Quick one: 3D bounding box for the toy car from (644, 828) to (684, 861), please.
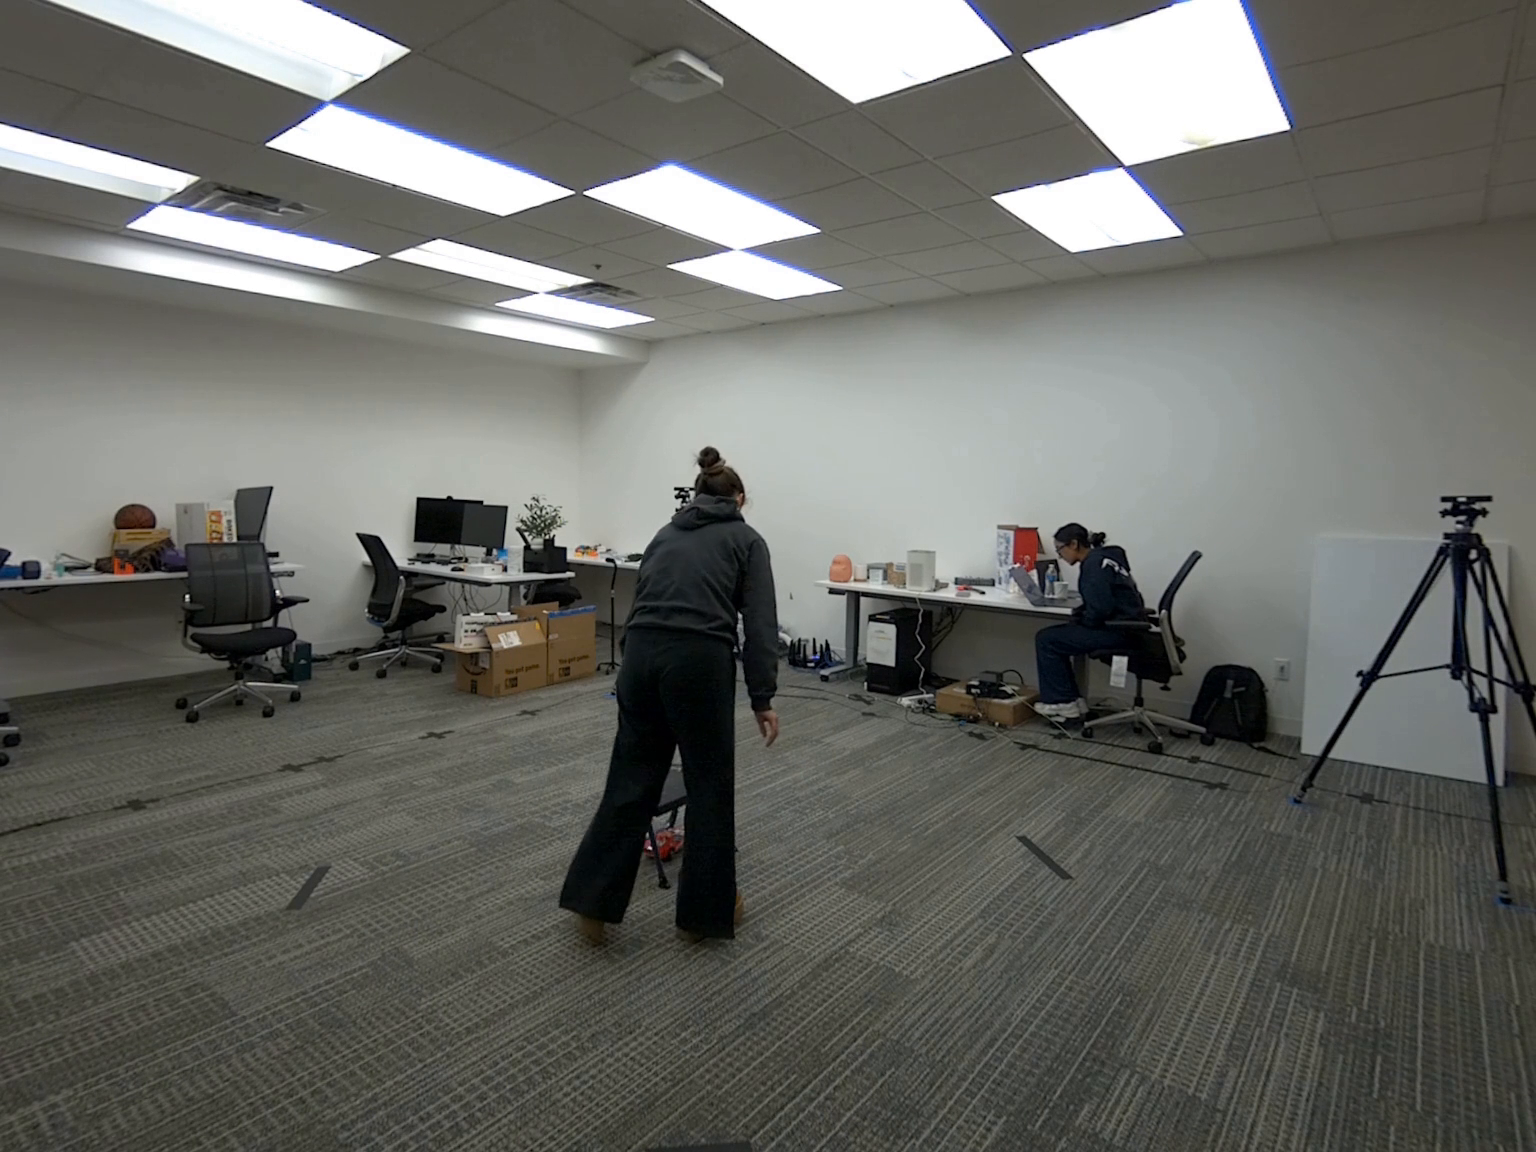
[{"bbox_3d":[-0.388,1.018,3.239,0.134,0.083,0.246,3,-5,30],"label":"toy car"}]
